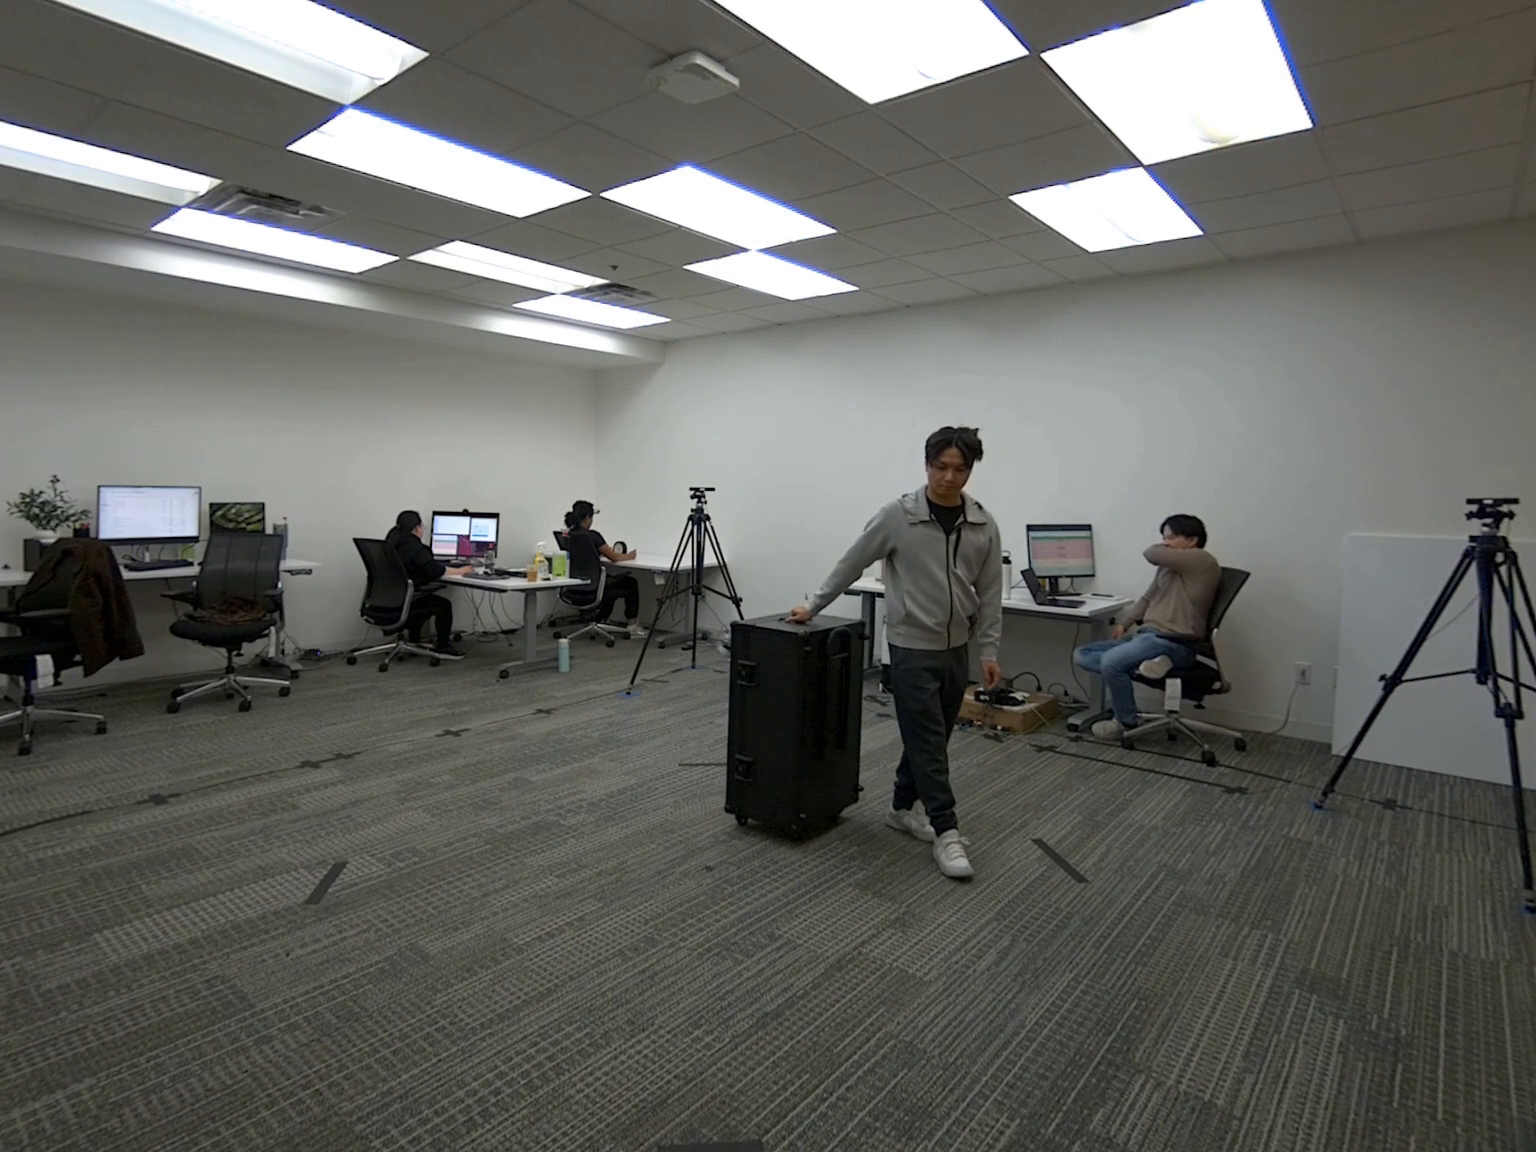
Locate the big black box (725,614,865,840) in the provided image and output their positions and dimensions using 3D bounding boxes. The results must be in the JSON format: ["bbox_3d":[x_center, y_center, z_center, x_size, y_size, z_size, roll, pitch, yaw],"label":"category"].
[{"bbox_3d":[0.117,0.608,3.536,0.409,0.858,0.506,6,5,36],"label":"big black box"}]
